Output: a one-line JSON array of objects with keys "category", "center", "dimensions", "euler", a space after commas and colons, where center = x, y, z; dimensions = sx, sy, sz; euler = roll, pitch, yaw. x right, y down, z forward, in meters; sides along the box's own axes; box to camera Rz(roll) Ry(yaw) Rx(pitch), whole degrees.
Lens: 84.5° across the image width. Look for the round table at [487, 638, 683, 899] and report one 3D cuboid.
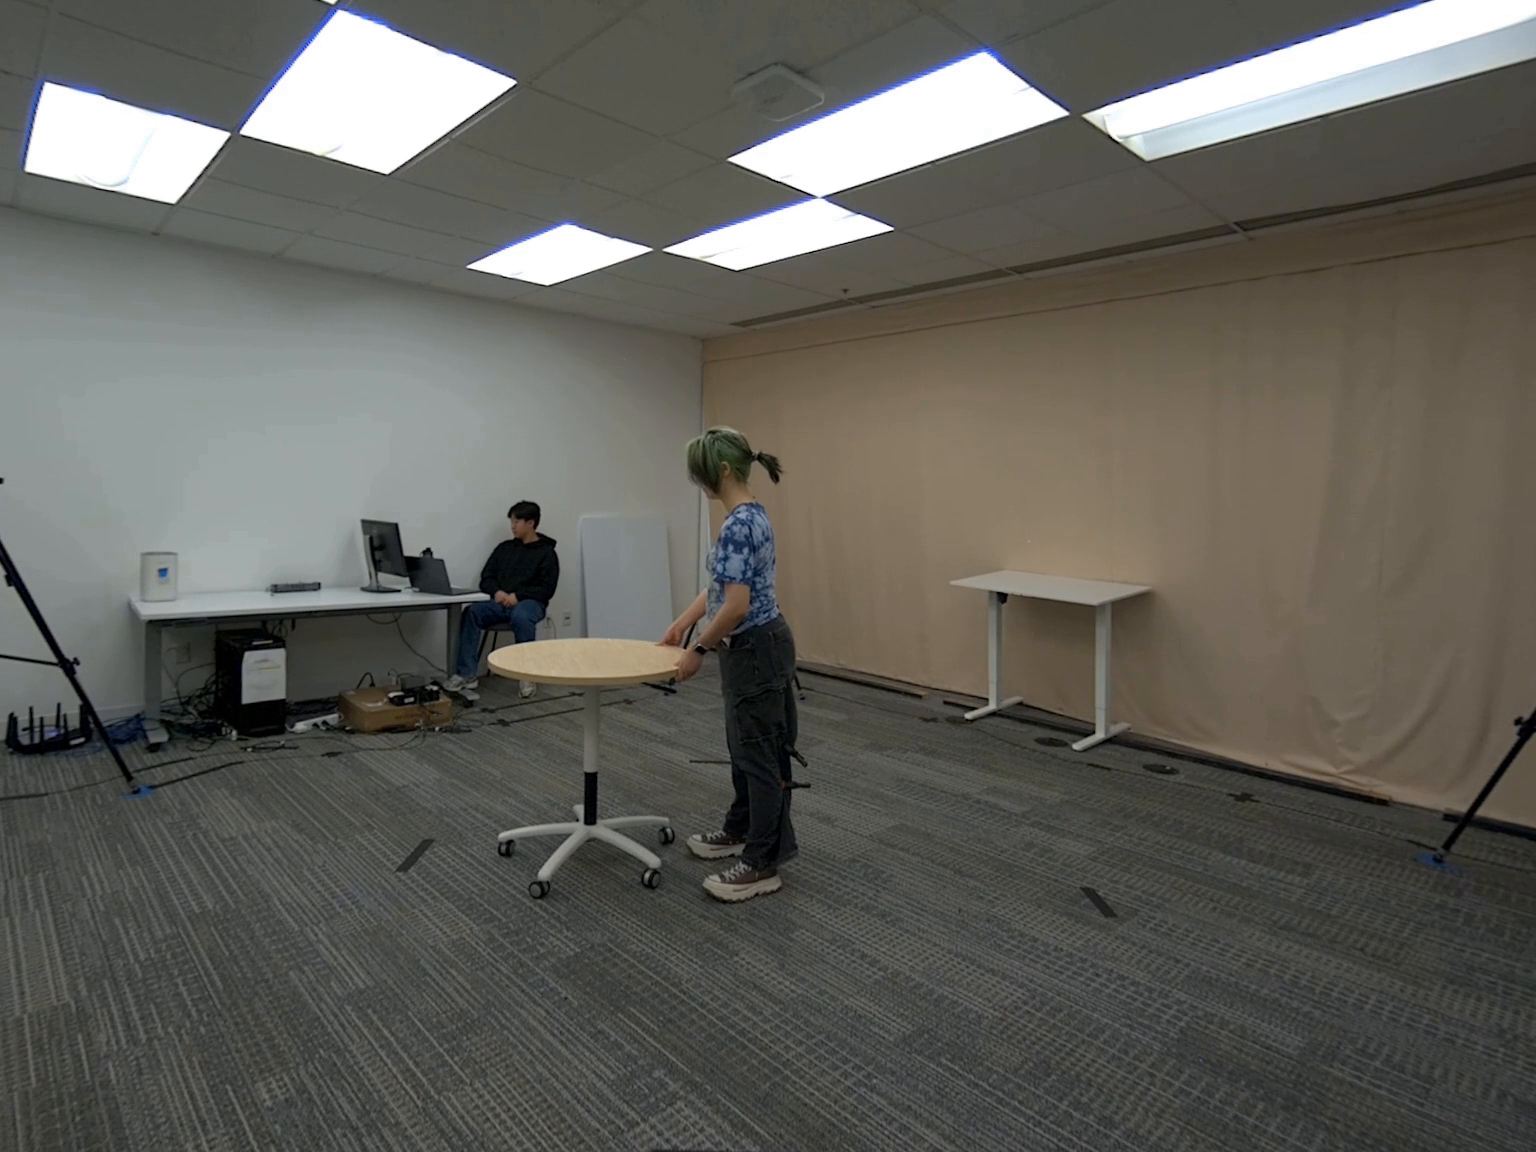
[{"category": "round table", "center": [-0.674, 0.694, 3.193], "dimensions": [0.763, 0.792, 0.767], "euler": [1, 4, -1]}]
